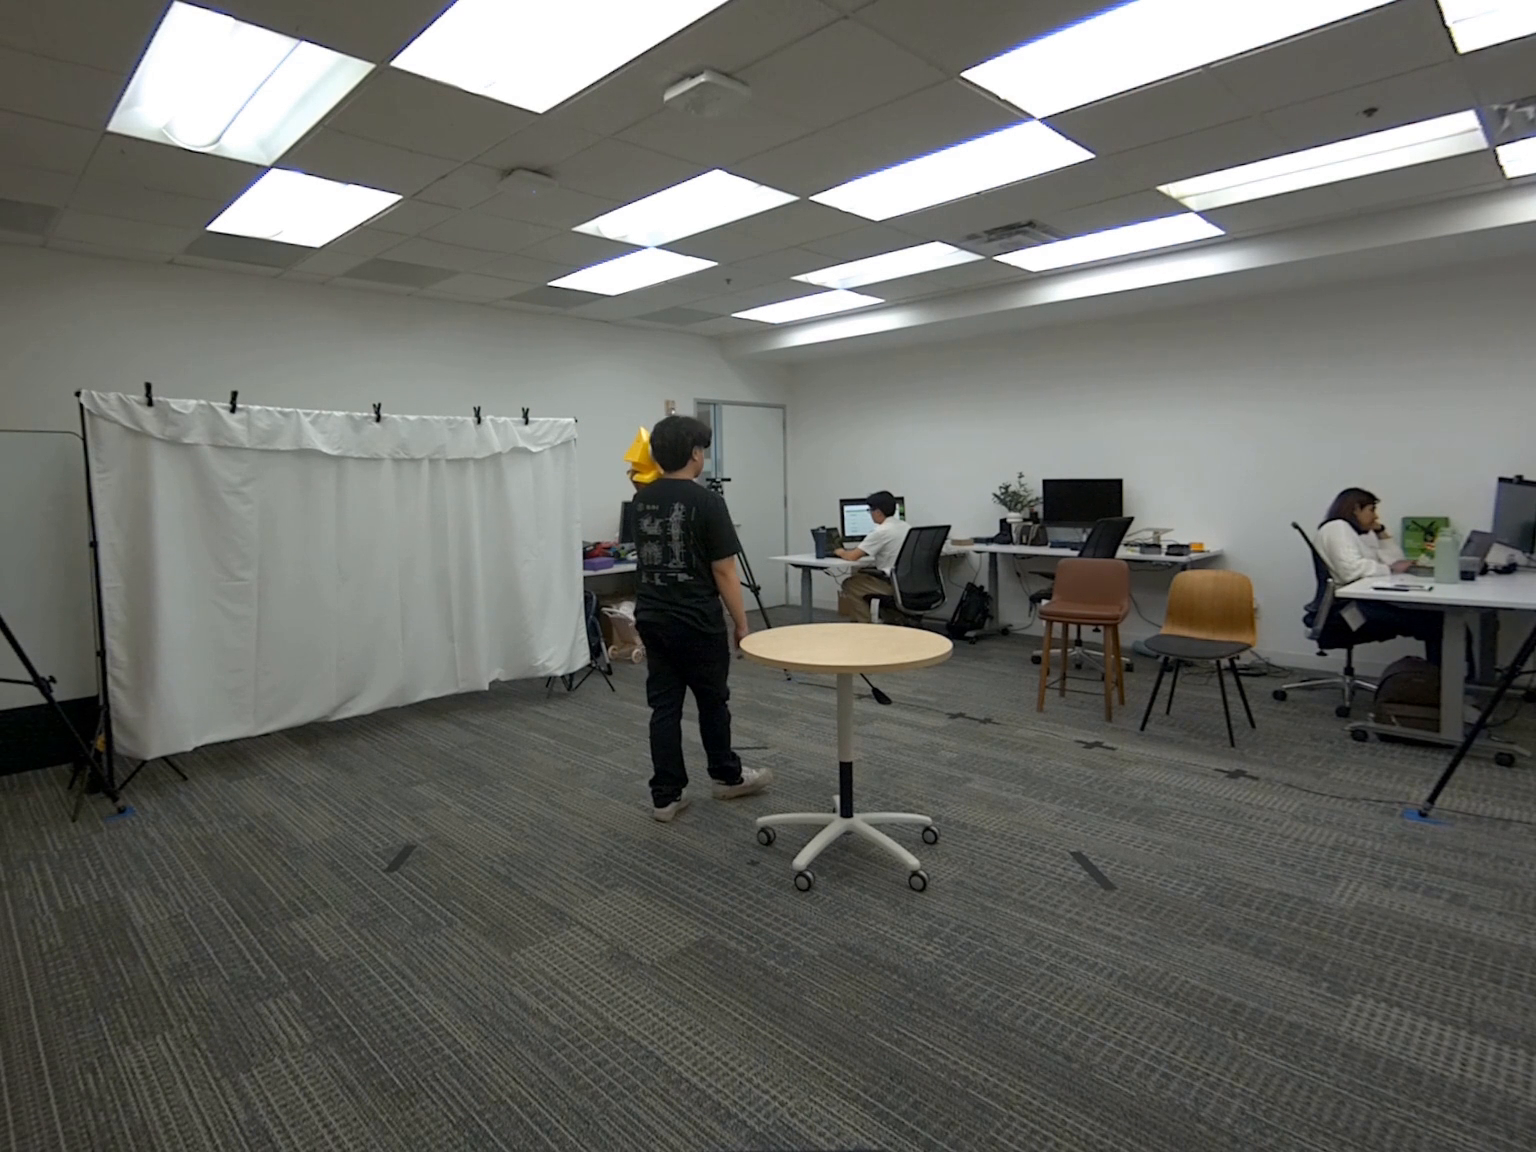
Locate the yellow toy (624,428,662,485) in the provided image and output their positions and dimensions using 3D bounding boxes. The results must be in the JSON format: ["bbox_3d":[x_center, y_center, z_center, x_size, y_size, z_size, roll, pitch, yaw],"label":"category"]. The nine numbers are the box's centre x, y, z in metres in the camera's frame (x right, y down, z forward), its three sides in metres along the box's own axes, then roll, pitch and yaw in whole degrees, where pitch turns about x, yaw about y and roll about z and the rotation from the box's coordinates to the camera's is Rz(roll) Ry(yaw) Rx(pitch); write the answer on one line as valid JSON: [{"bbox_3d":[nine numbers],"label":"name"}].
[{"bbox_3d":[-0.509,-0.523,3.691,0.188,0.230,0.211,6,6,-26],"label":"yellow toy"}]
